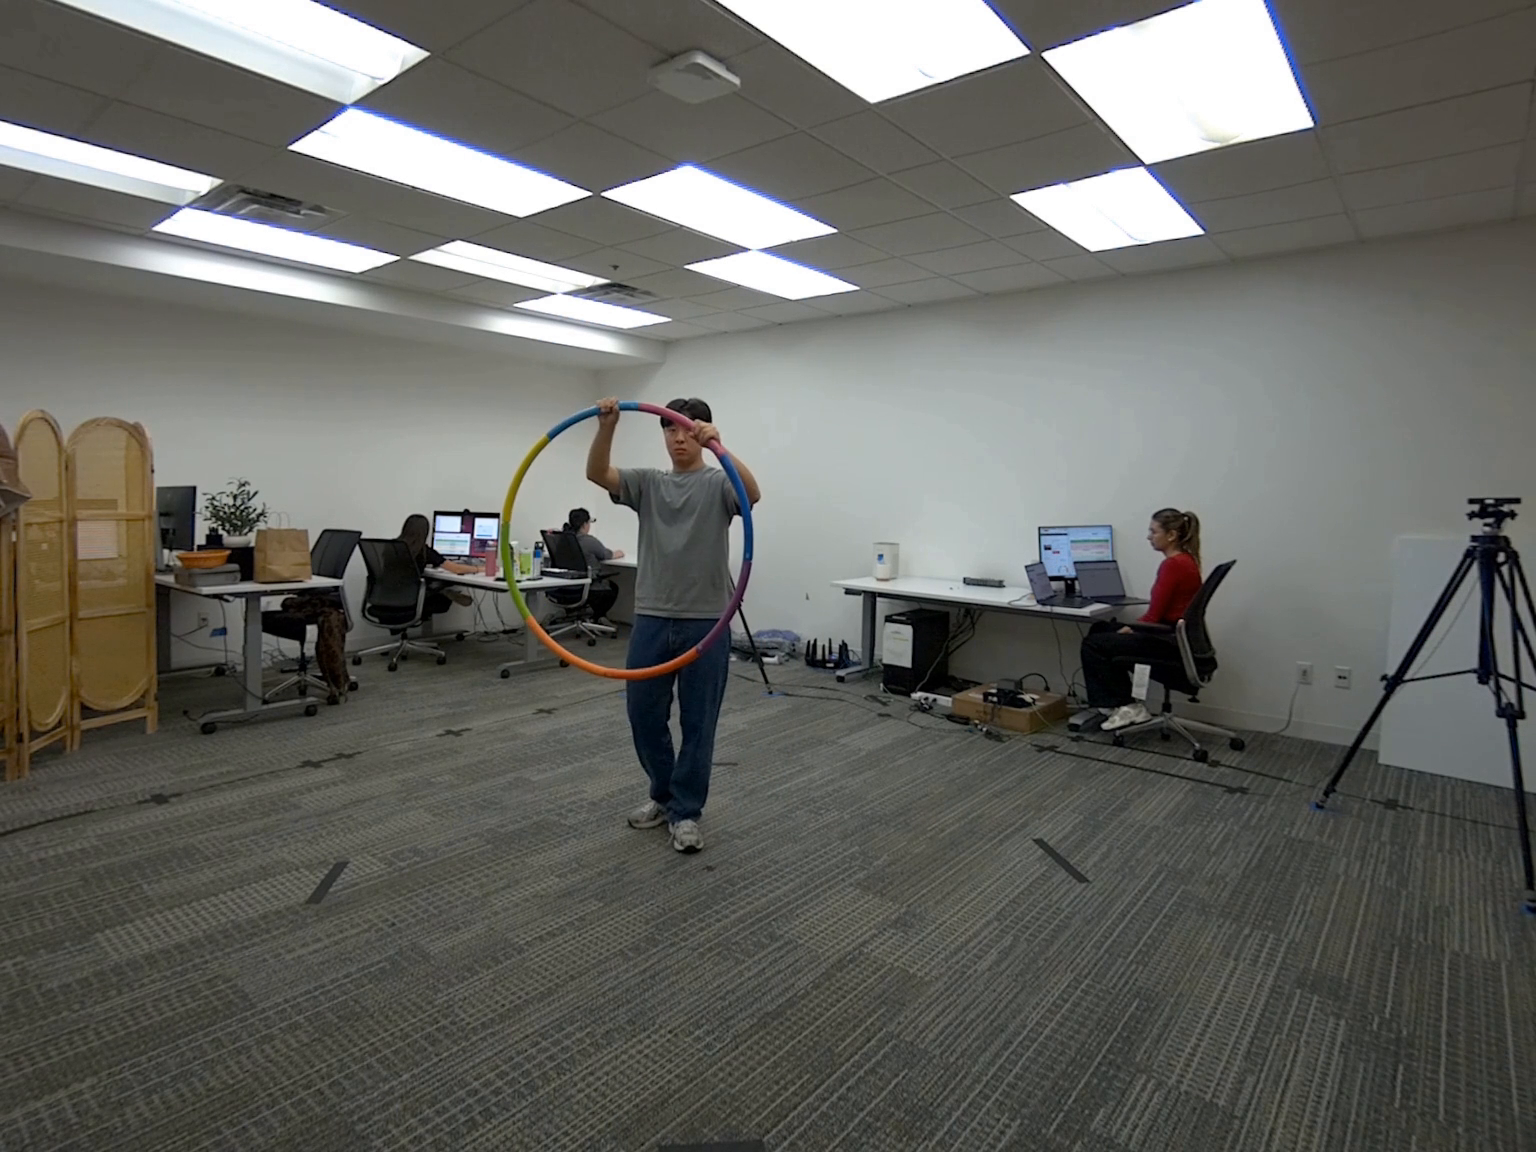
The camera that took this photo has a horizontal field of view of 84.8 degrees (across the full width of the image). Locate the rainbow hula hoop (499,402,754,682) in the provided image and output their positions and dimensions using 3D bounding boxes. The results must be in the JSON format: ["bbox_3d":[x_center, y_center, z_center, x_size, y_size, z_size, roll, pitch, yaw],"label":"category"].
[{"bbox_3d":[-0.523,-0.128,3.038,0.996,0.977,0.035,2,2,17],"label":"rainbow hula hoop"}]
